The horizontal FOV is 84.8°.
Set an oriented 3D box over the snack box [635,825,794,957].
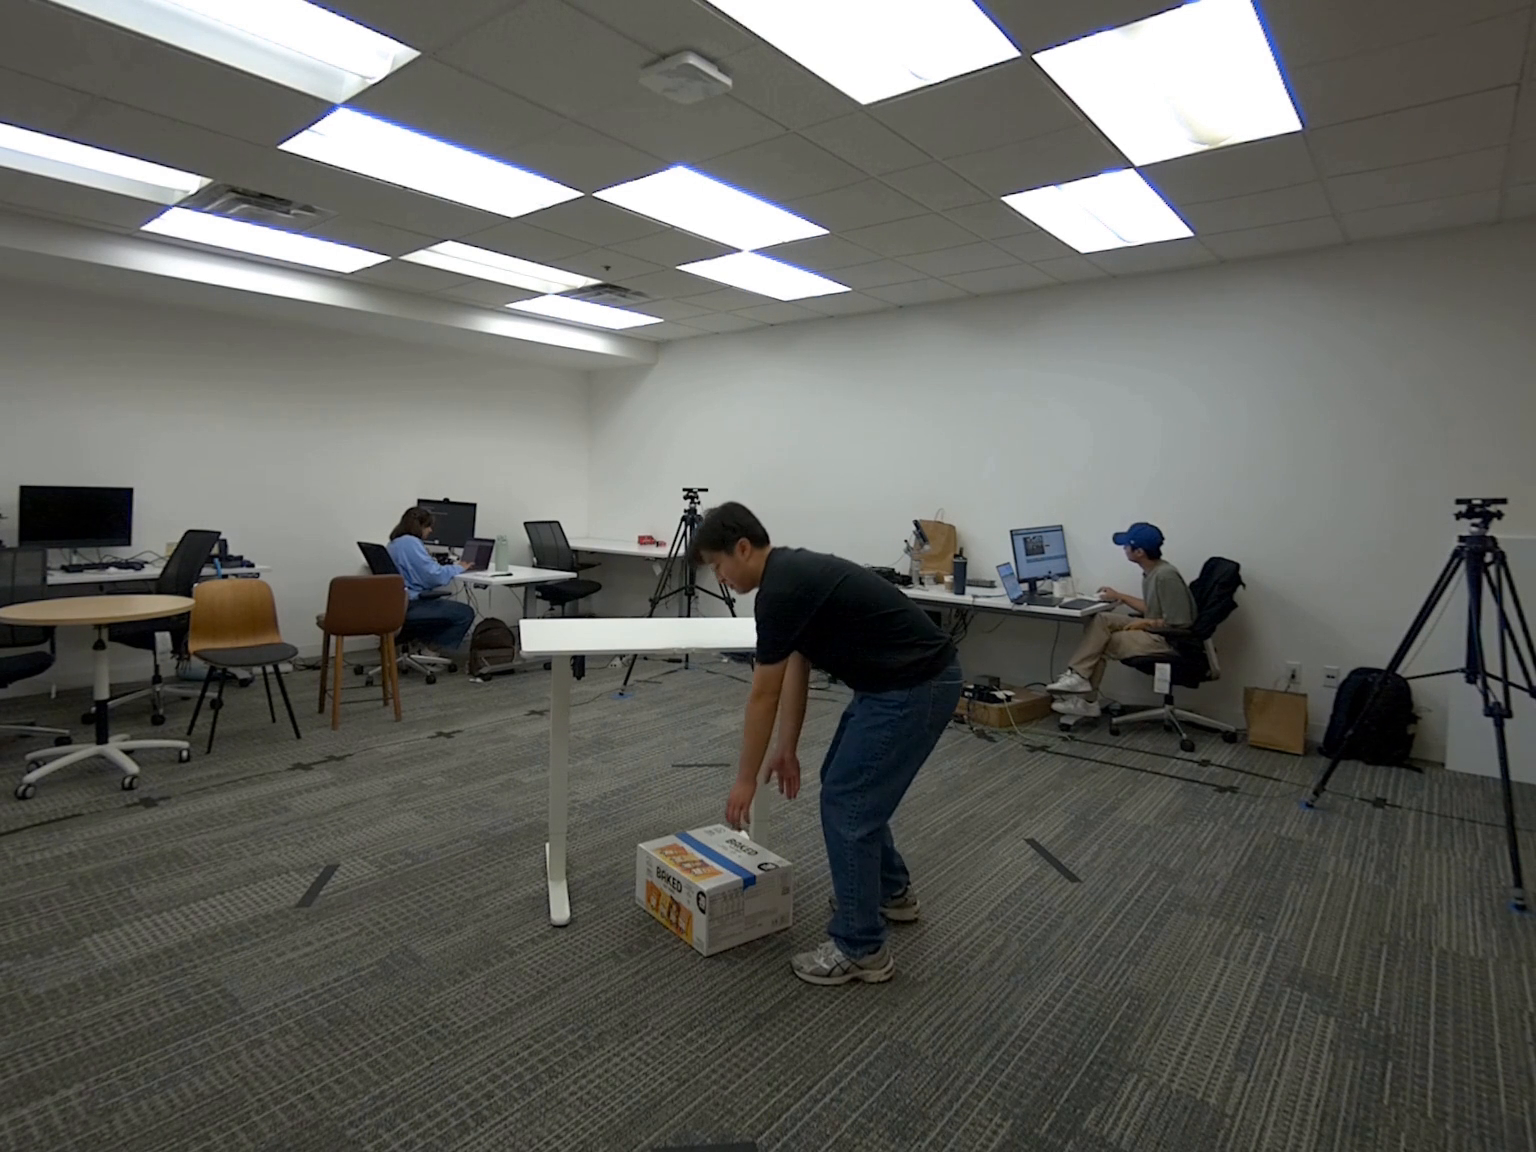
[{"bbox_3d":[-0.187,1.002,2.764,0.330,0.205,0.419,-2,6,-37],"label":"snack box"}]
